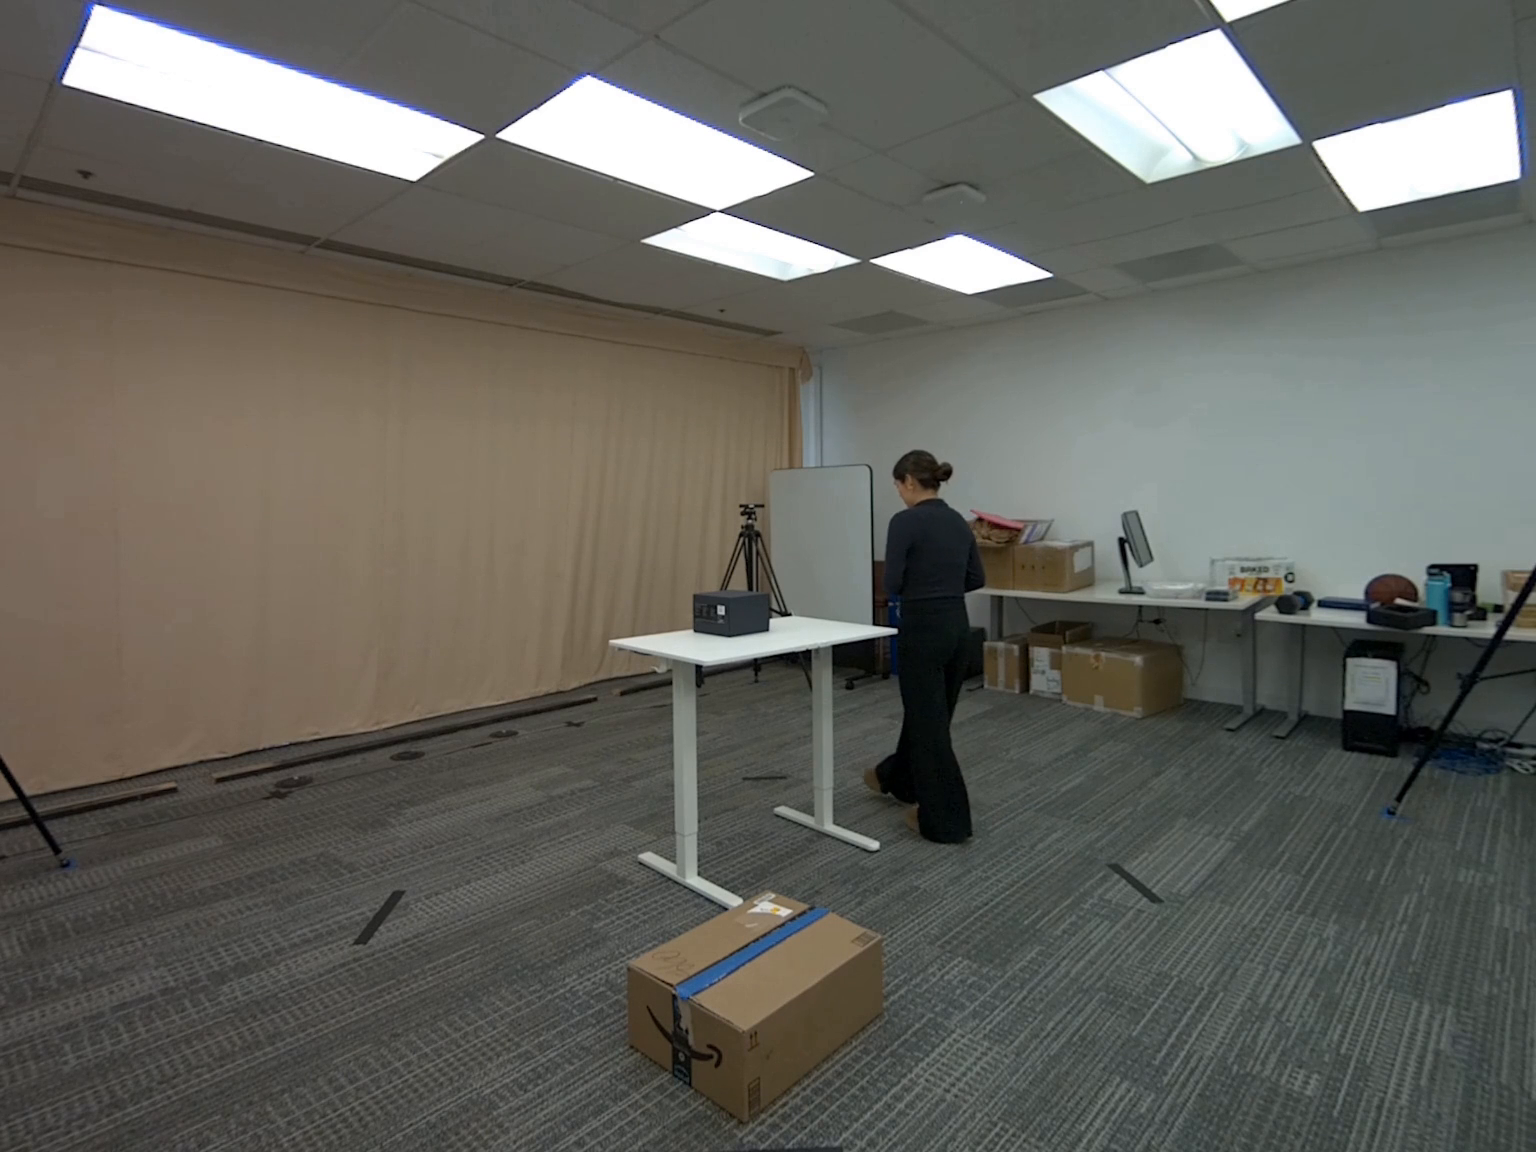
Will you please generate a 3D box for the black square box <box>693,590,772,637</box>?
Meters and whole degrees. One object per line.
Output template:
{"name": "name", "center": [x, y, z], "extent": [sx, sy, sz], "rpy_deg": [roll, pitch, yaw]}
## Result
{"name": "black square box", "center": [-0.146, 0.147, 3.391], "extent": [0.221, 0.155, 0.224], "rpy_deg": [-5, 6, -45]}
